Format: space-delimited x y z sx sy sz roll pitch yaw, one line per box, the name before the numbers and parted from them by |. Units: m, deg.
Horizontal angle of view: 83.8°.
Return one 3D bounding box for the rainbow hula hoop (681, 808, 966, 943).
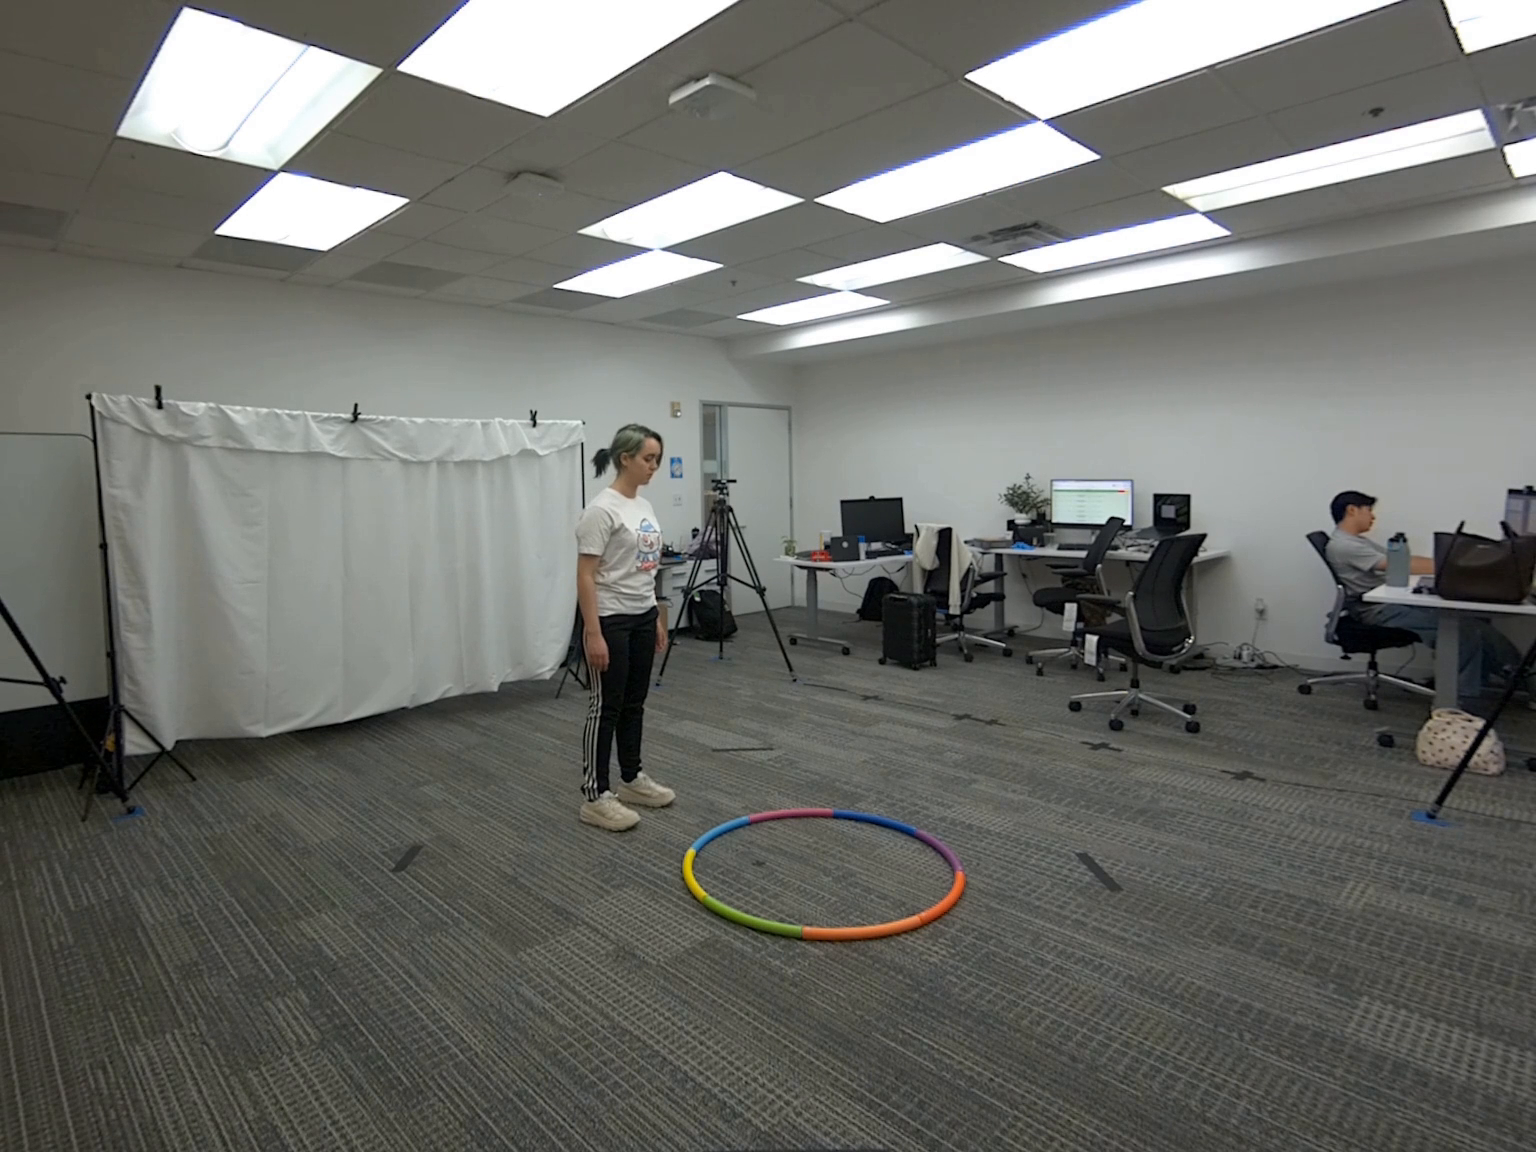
rainbow hula hoop | 0.188 1.020 3.057 0.978 0.035 0.984 -1 7 -2
